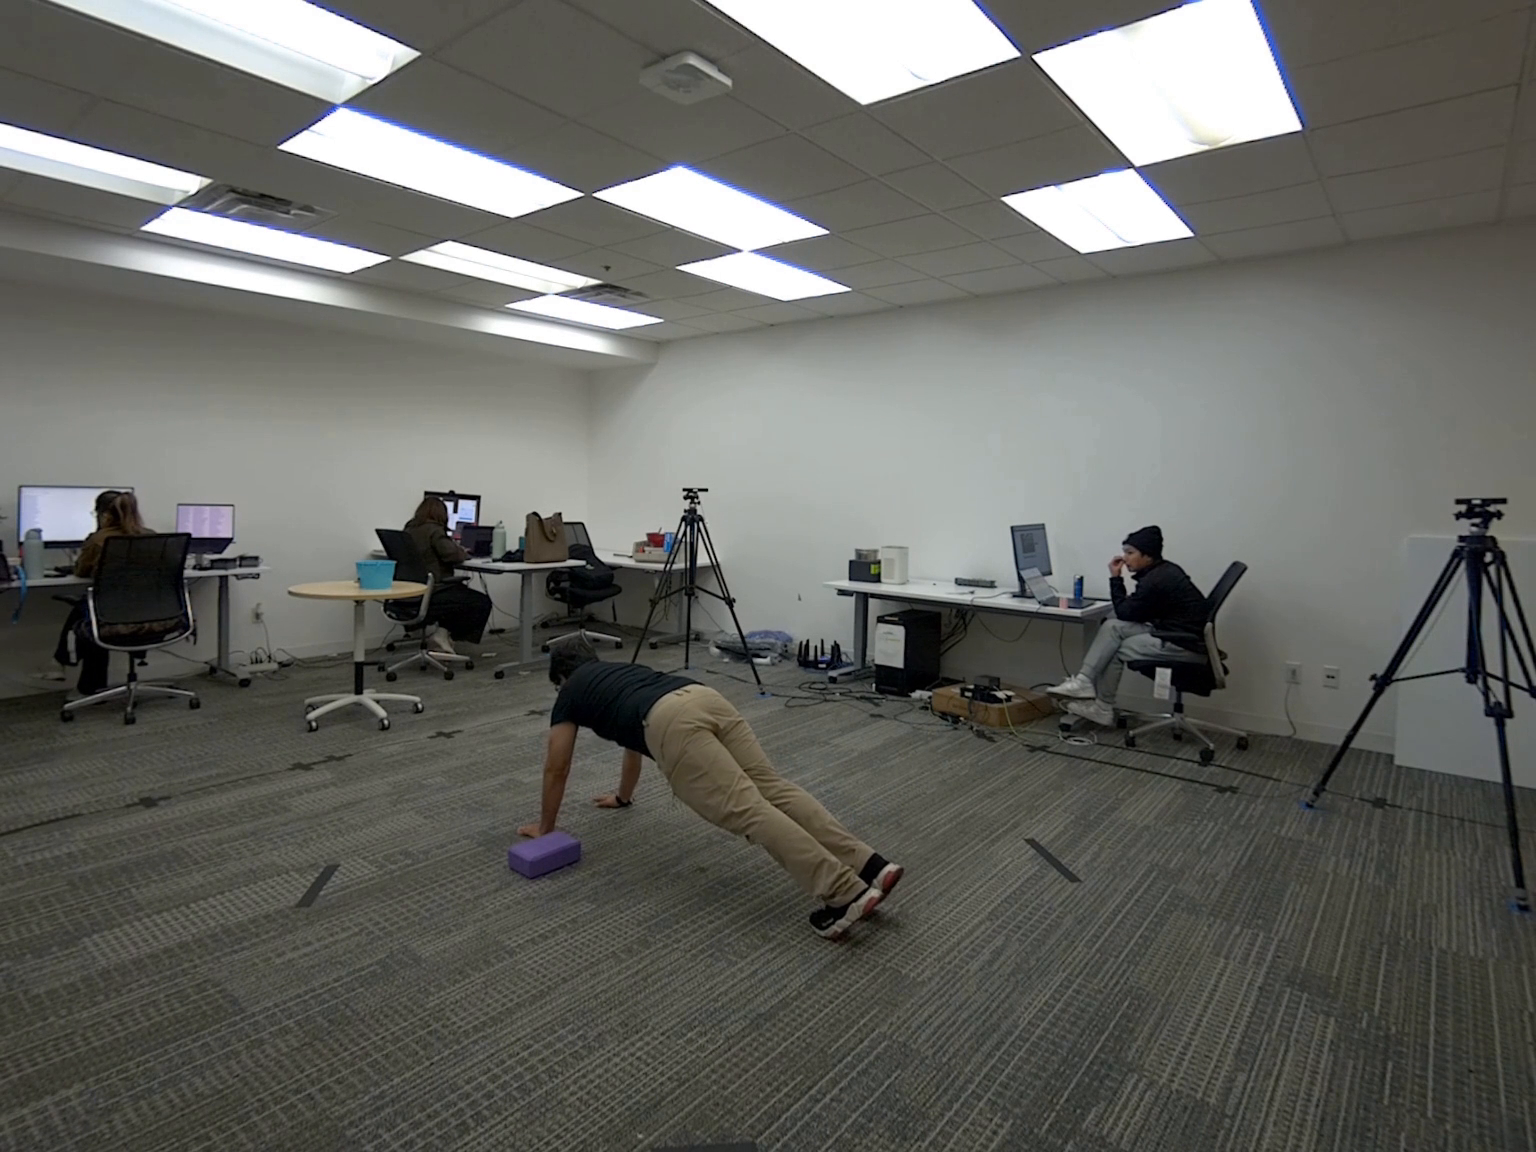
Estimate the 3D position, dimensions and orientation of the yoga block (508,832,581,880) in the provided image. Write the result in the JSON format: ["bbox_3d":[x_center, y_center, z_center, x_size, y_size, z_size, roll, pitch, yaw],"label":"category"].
[{"bbox_3d":[-0.831,1.016,3.125,0.154,0.076,0.222,5,6,40],"label":"yoga block"}]
